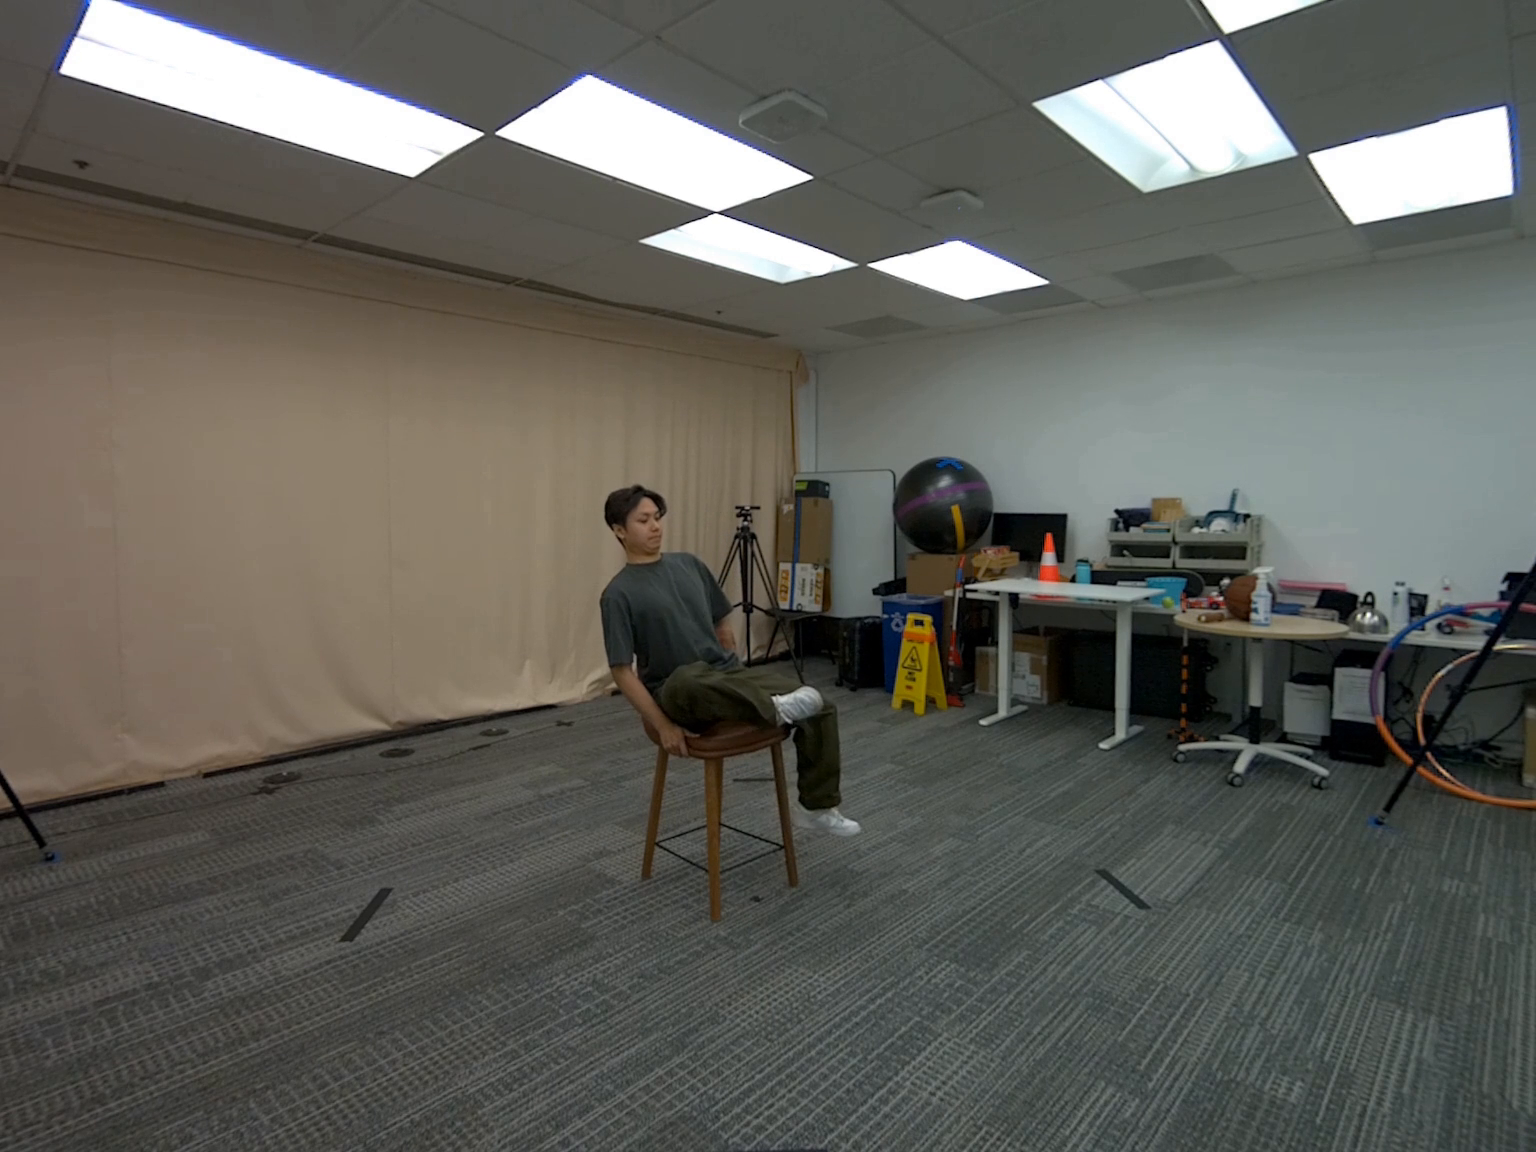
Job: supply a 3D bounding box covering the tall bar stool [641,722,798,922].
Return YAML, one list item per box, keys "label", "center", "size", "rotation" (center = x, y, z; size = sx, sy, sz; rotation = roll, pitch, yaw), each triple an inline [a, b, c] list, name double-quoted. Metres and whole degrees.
- label: "tall bar stool"
  center: [-0.194, 0.701, 3.101]
  size: [0.442, 0.889, 0.482]
  rotation: [-3, 2, -42]
